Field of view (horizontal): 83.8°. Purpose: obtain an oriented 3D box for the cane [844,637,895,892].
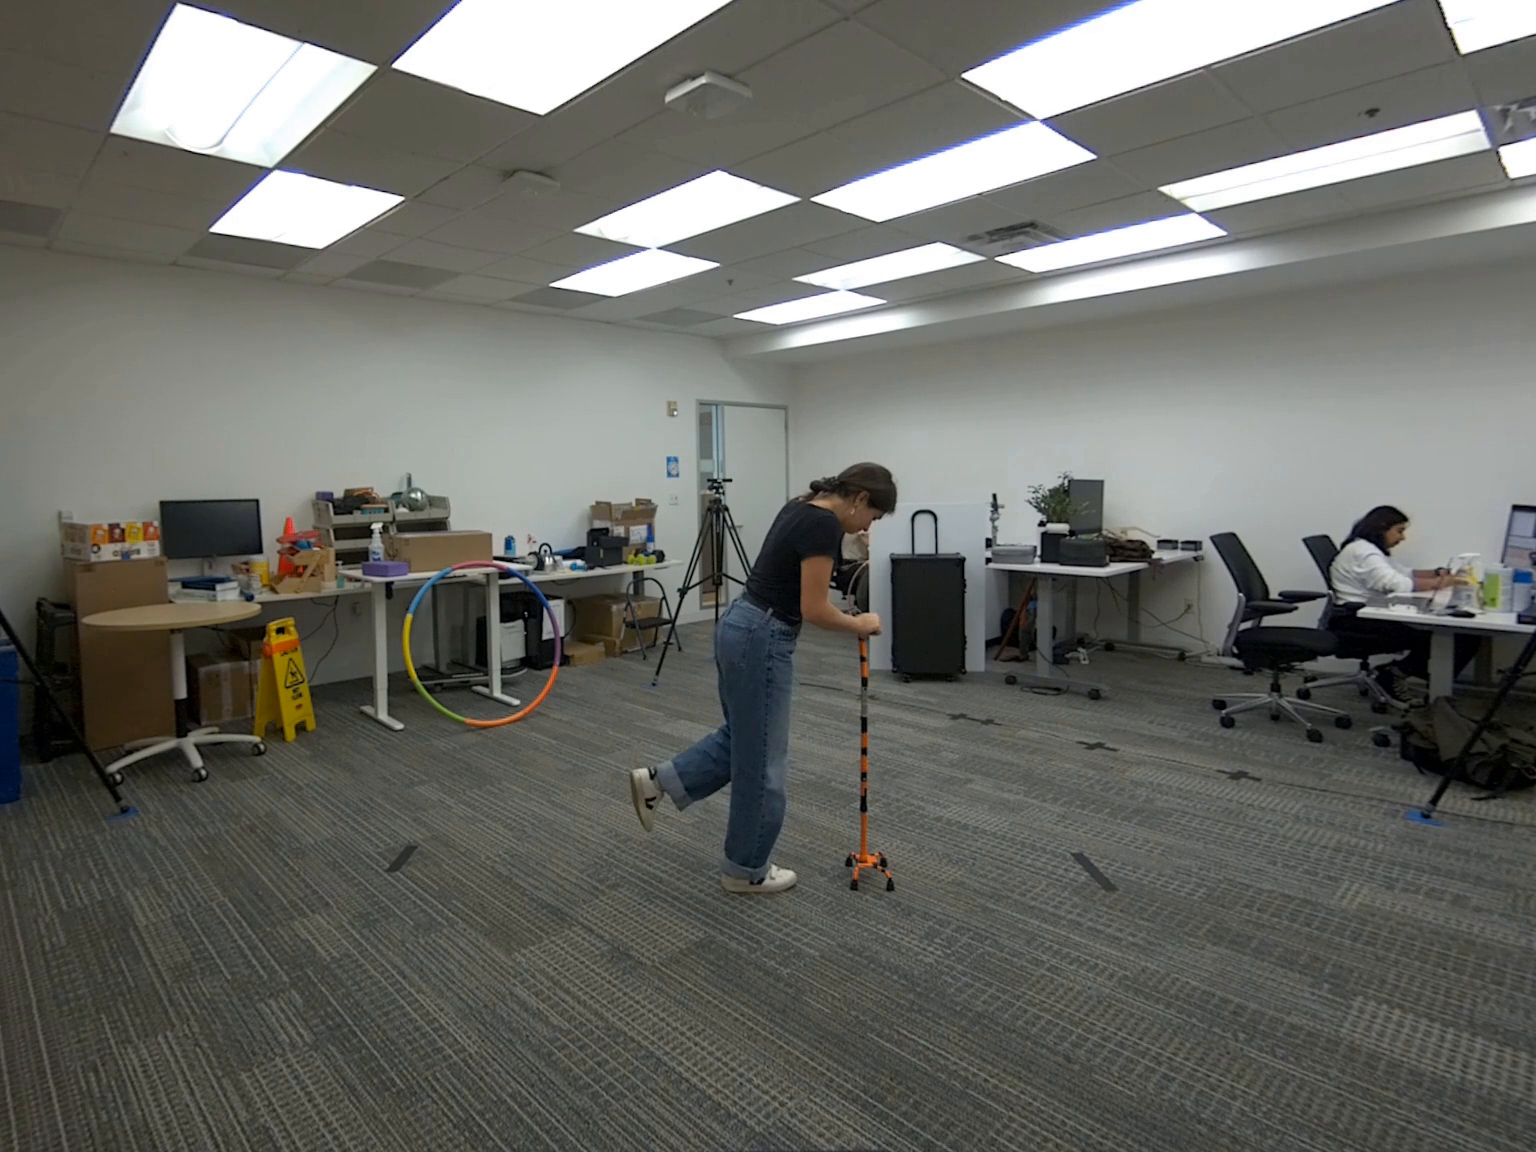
[{"bbox_3d":[0.348,0.595,2.957,0.152,0.905,0.207,0,3,1],"label":"cane"}]
